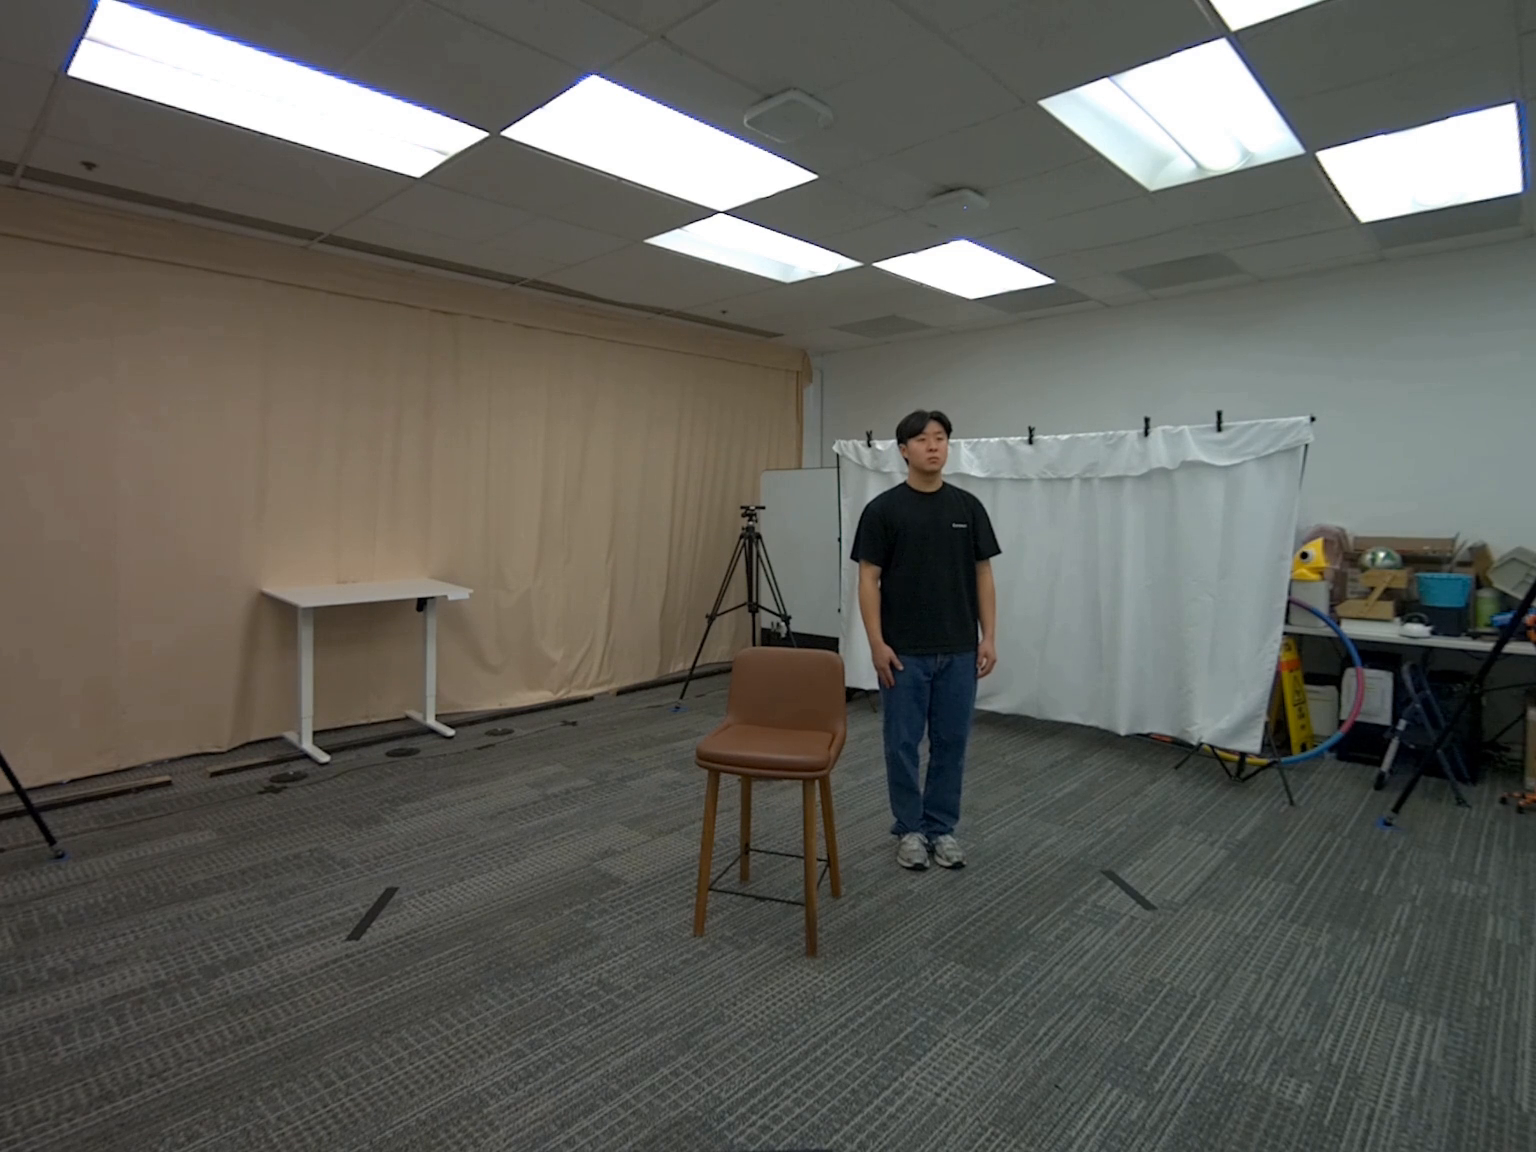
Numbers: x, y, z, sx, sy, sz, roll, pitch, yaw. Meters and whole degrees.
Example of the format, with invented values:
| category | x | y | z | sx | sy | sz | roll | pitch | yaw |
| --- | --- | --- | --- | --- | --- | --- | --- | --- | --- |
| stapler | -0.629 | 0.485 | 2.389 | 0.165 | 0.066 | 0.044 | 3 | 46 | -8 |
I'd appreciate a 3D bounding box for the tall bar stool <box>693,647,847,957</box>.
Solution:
| category | x | y | z | sx | sy | sz | roll | pitch | yaw |
| --- | --- | --- | --- | --- | --- | --- | --- | --- | --- |
| tall bar stool | 0.025 | 0.721 | 2.848 | 0.467 | 0.889 | 0.458 | 2 | 2 | 20 |
